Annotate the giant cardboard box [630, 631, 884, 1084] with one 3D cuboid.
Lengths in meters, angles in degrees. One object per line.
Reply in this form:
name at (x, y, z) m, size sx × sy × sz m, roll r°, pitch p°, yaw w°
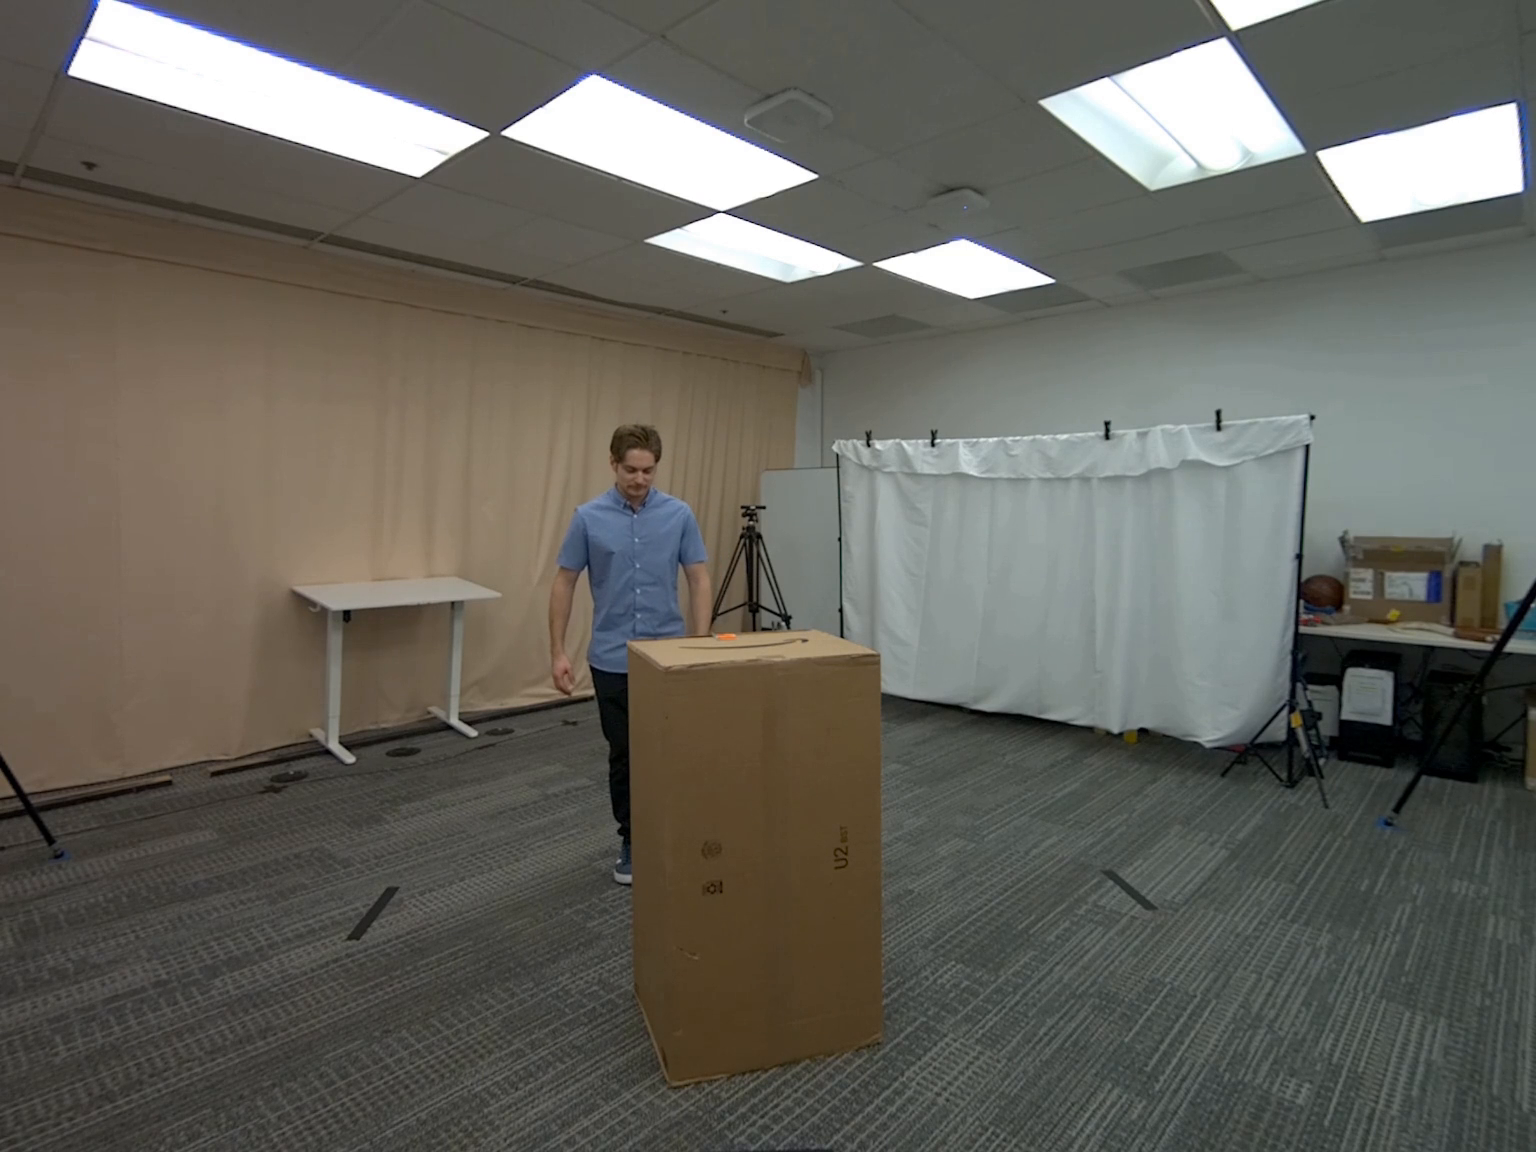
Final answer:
giant cardboard box at (-0.042, 0.699, 2.267) m, size 0.573 × 1.024 × 0.457 m, roll -2°, pitch 4°, yaw -19°
